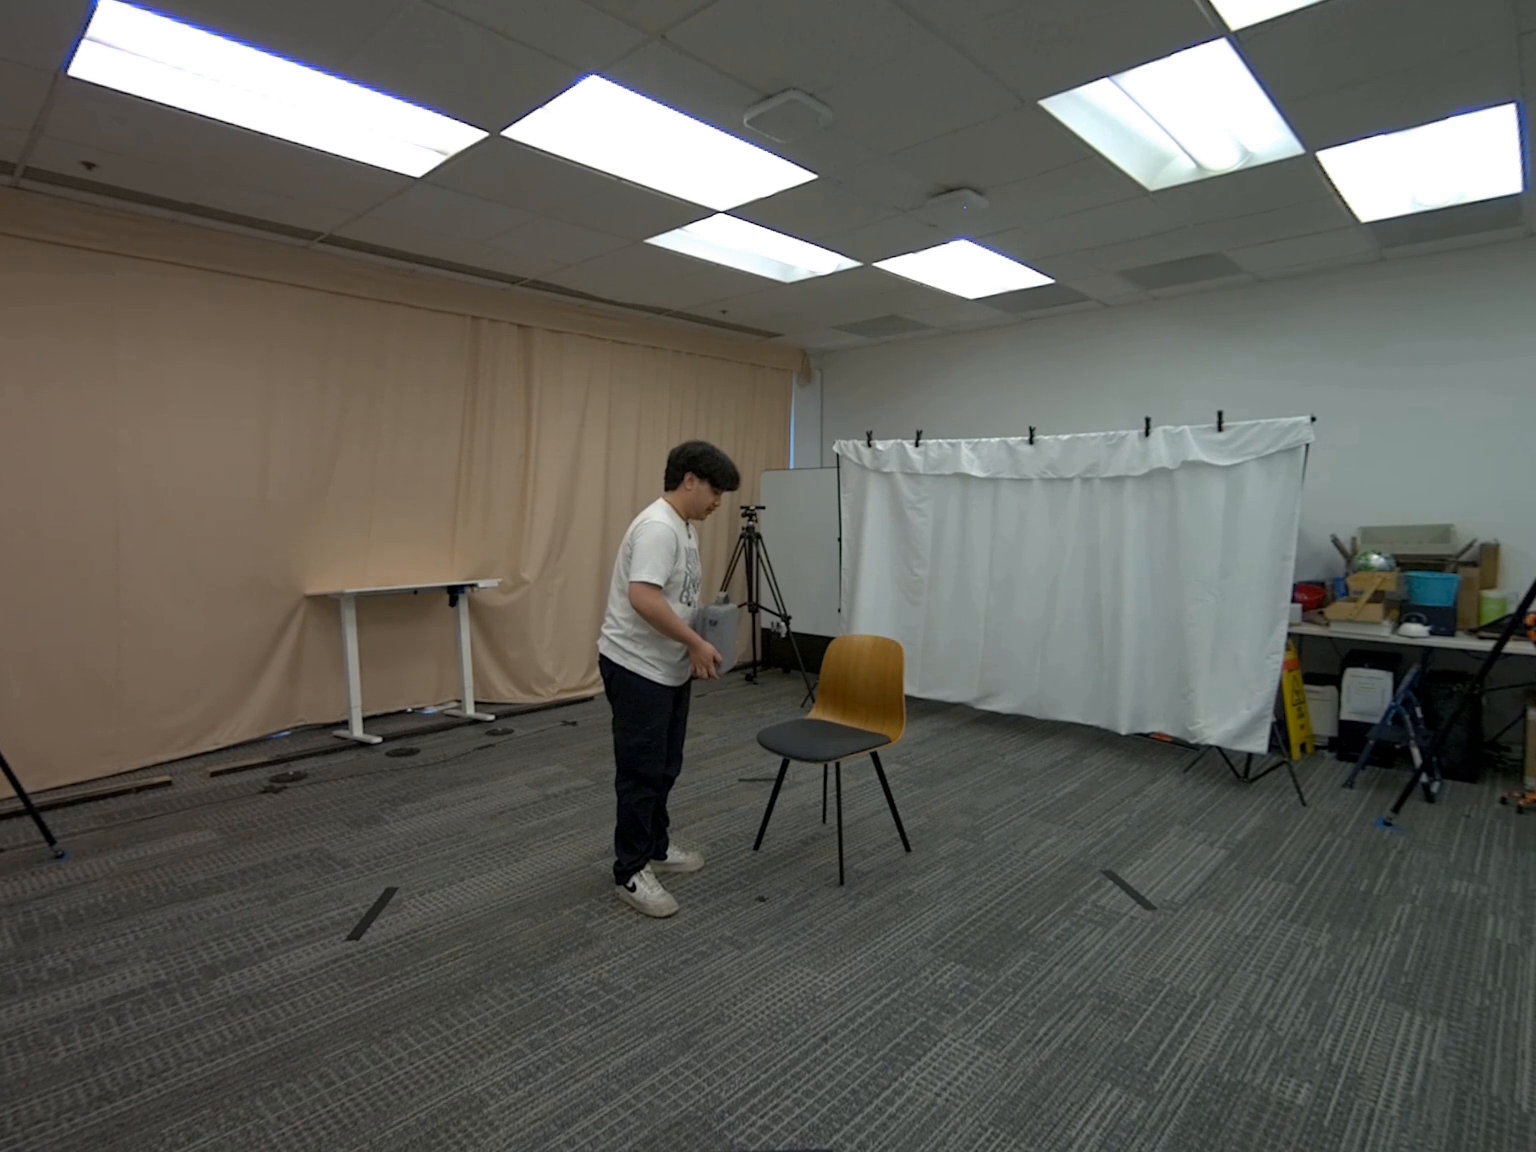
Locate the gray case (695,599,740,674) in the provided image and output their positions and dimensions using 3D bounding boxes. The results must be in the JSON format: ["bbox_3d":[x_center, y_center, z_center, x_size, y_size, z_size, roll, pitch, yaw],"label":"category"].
[{"bbox_3d":[-0.183,0.223,3.075,0.106,0.260,0.254,6,5,11],"label":"gray case"}]
